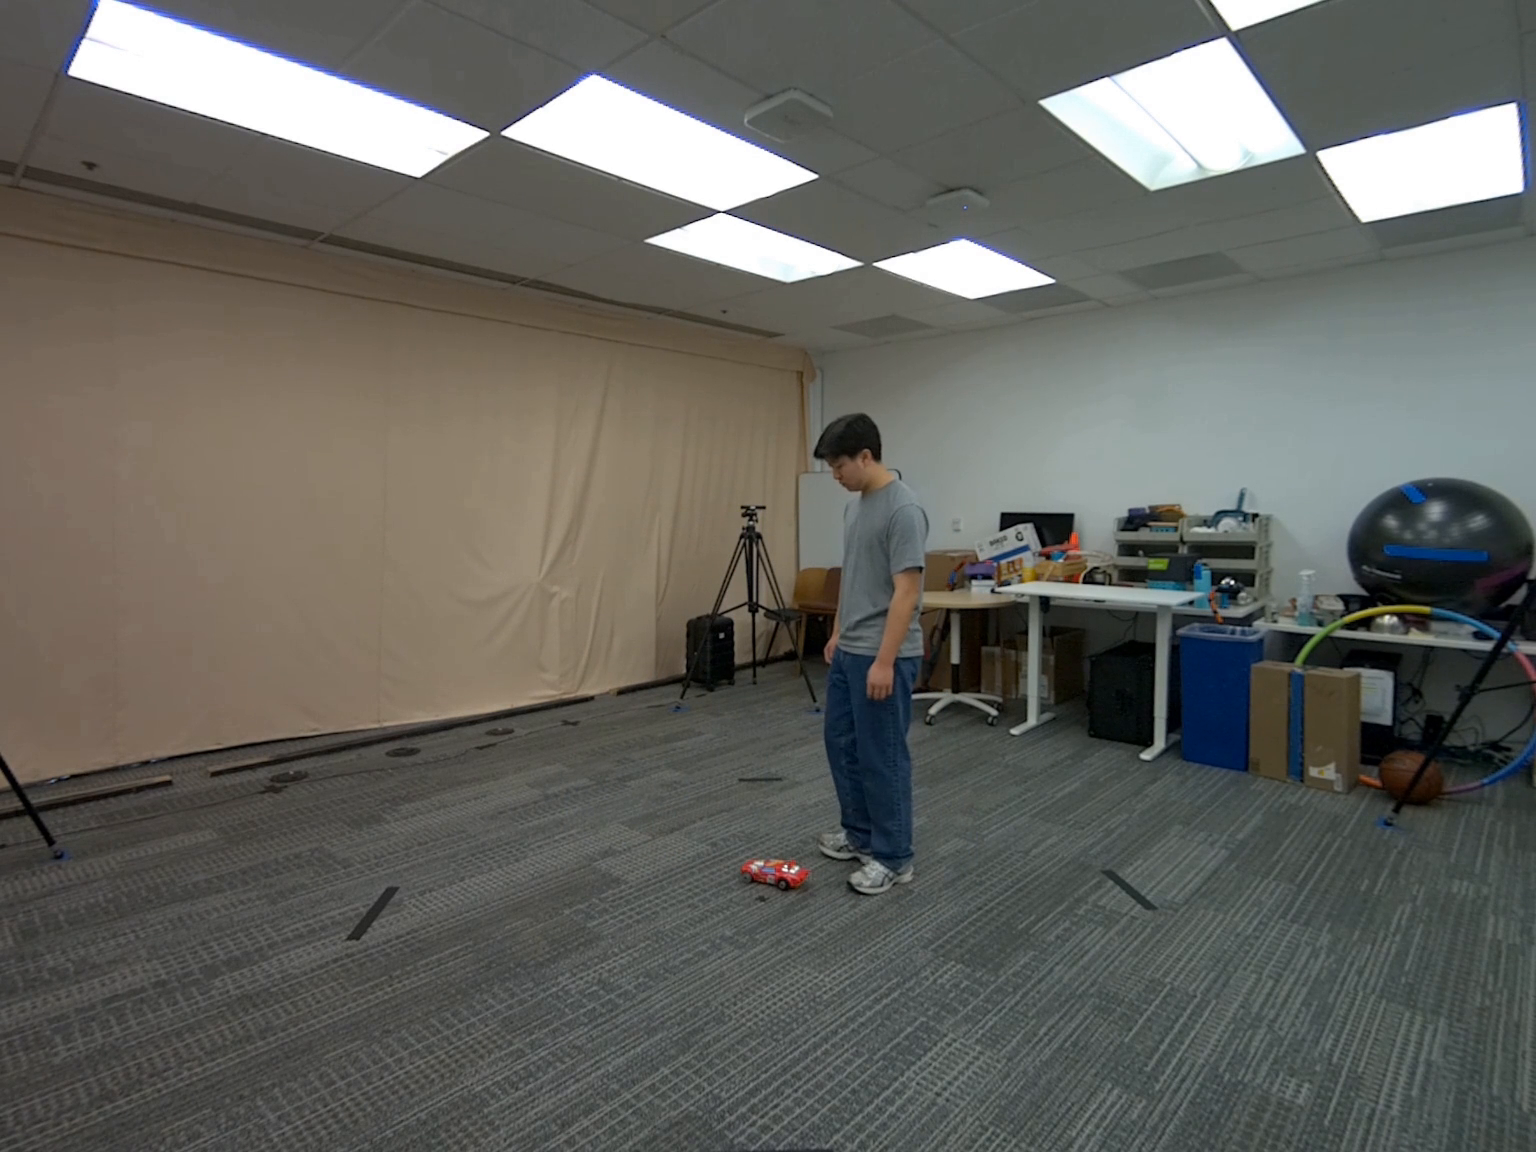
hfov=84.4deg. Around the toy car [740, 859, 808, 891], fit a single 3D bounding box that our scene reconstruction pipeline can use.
[{"bbox_3d":[0.032,1.103,3.113,0.260,0.083,0.127,-10,-1,28],"label":"toy car"}]
